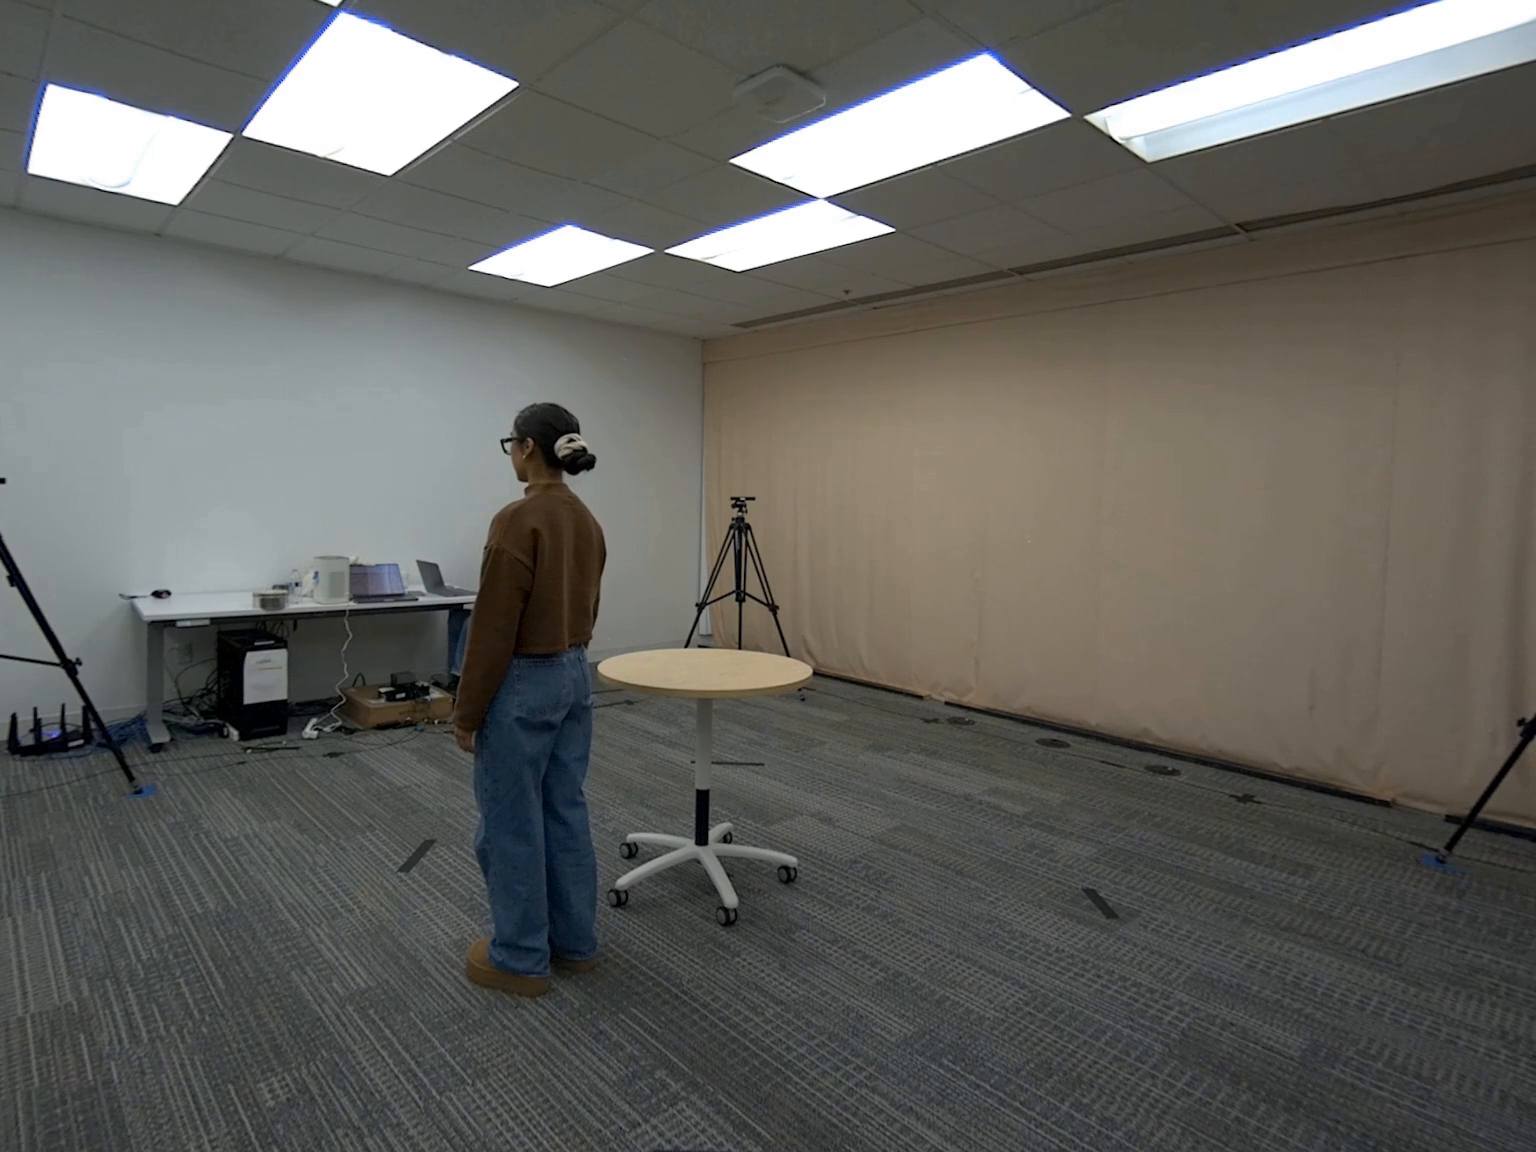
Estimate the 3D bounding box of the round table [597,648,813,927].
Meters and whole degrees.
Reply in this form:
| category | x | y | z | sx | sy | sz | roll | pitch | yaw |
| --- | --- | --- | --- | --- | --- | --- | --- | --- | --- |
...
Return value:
| category | x | y | z | sx | sy | sz | roll | pitch | yaw |
| --- | --- | --- | --- | --- | --- | --- | --- | --- | --- |
| round table | -0.238 | 0.721 | 3.028 | 0.763 | 0.792 | 0.766 | 1 | 4 | -1 |
